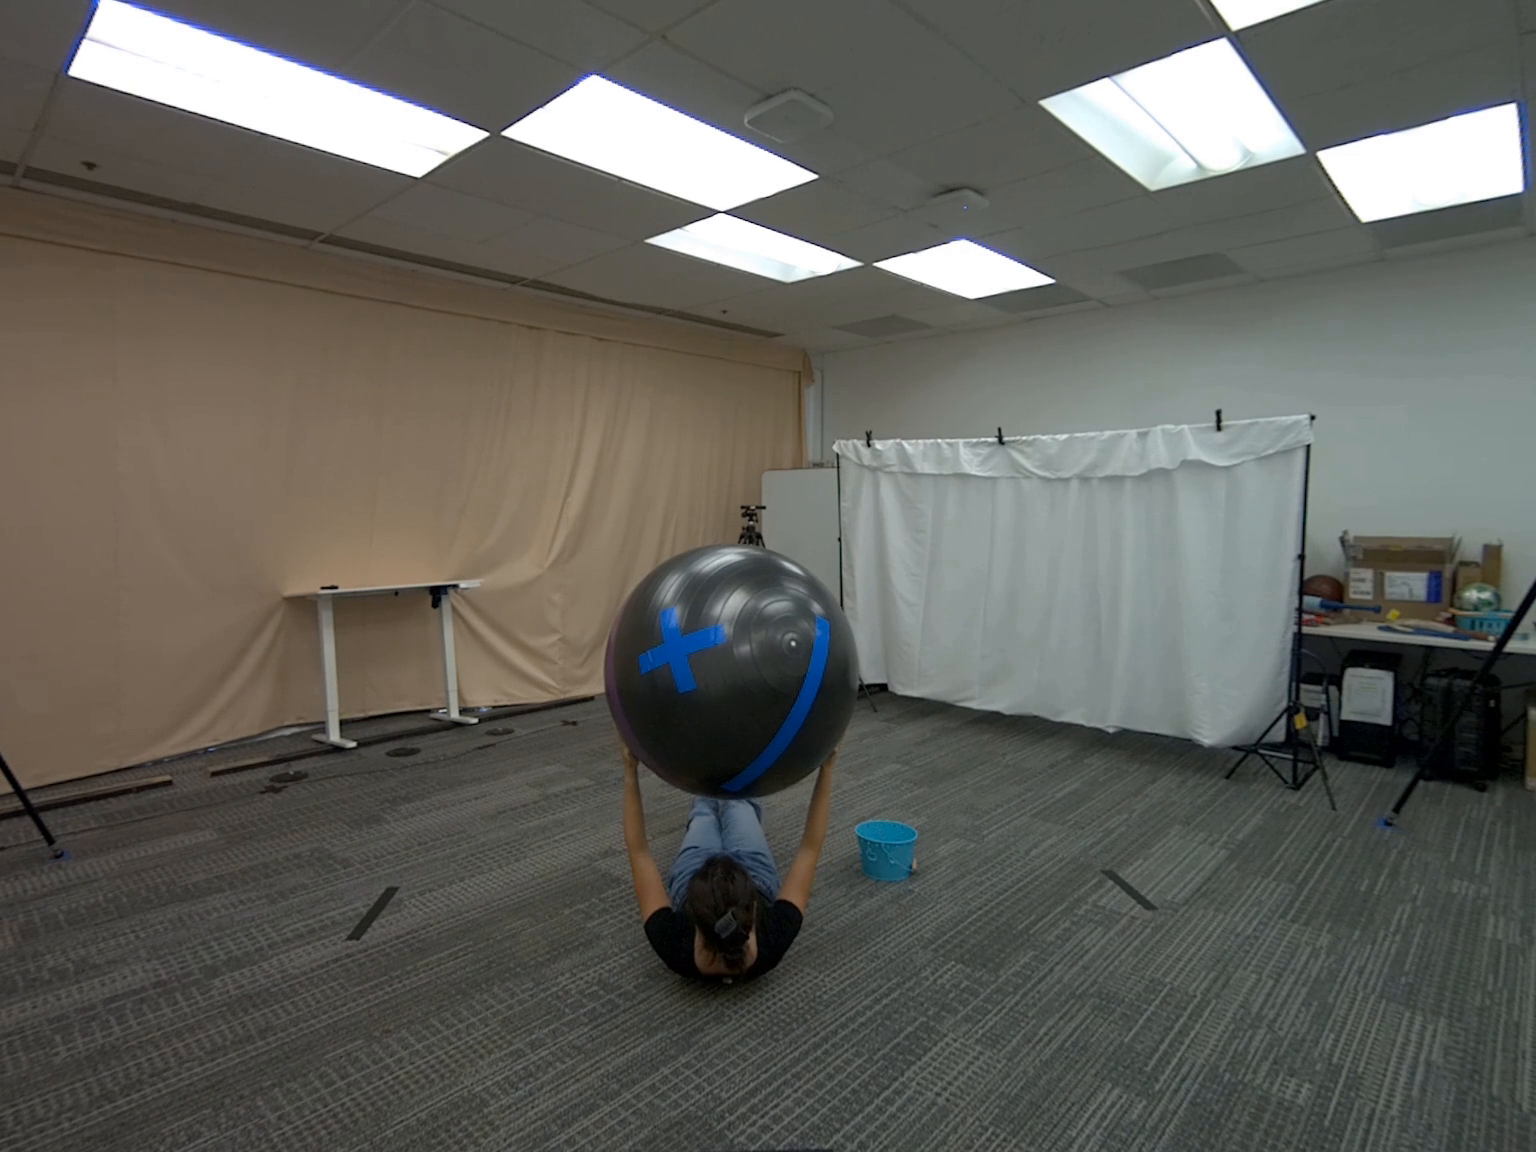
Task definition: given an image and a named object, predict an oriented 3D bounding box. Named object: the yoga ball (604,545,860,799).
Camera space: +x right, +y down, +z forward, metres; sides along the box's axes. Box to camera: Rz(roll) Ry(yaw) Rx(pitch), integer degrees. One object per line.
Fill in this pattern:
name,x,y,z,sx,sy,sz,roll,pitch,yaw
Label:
yoga ball,-0.110,0.285,2.530,0.757,0.756,0.760,0,4,-2
